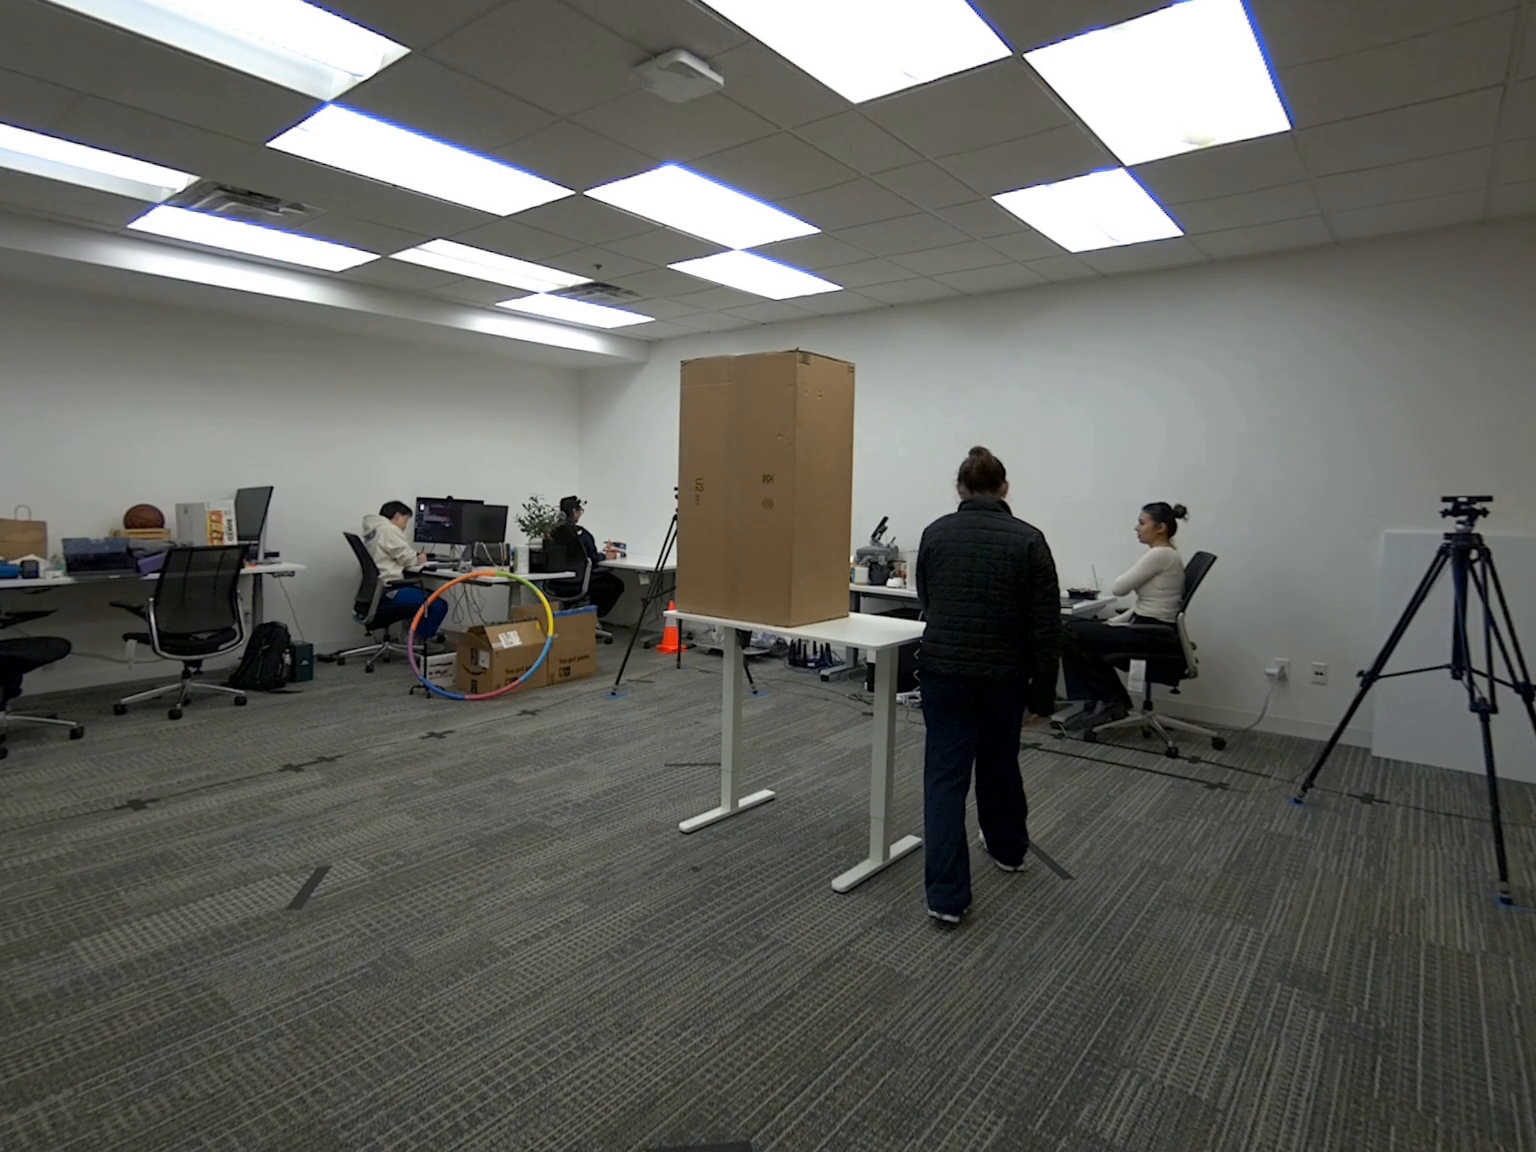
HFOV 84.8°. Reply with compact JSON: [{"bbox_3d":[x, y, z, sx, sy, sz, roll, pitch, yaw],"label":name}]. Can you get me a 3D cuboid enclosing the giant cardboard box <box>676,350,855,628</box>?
[{"bbox_3d":[0.005,-0.355,3.454,0.597,1.023,0.413,4,4,38],"label":"giant cardboard box"}]
